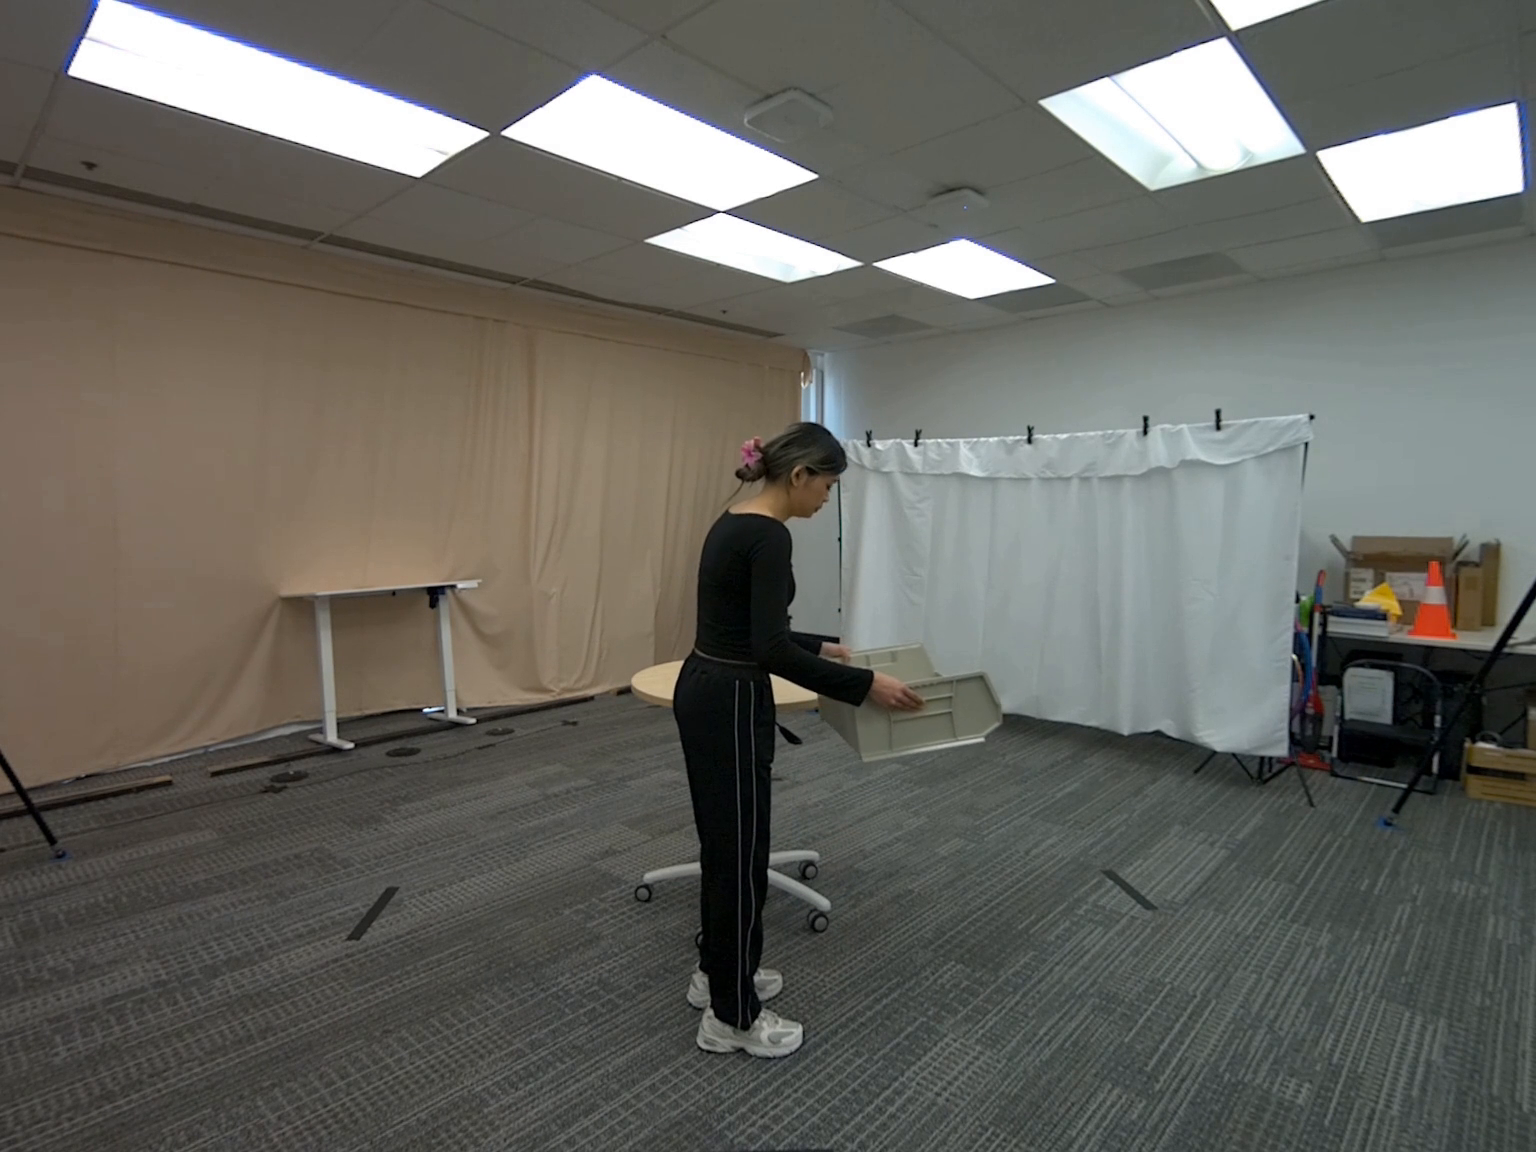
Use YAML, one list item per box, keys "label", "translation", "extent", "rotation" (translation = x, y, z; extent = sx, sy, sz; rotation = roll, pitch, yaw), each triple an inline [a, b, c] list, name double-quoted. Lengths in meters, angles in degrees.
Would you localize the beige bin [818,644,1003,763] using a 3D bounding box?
- label: "beige bin"
  translation: [0.358, 0.326, 2.242]
  extent: [0.374, 0.188, 0.428]
  rotation: [-8, 8, -10]
